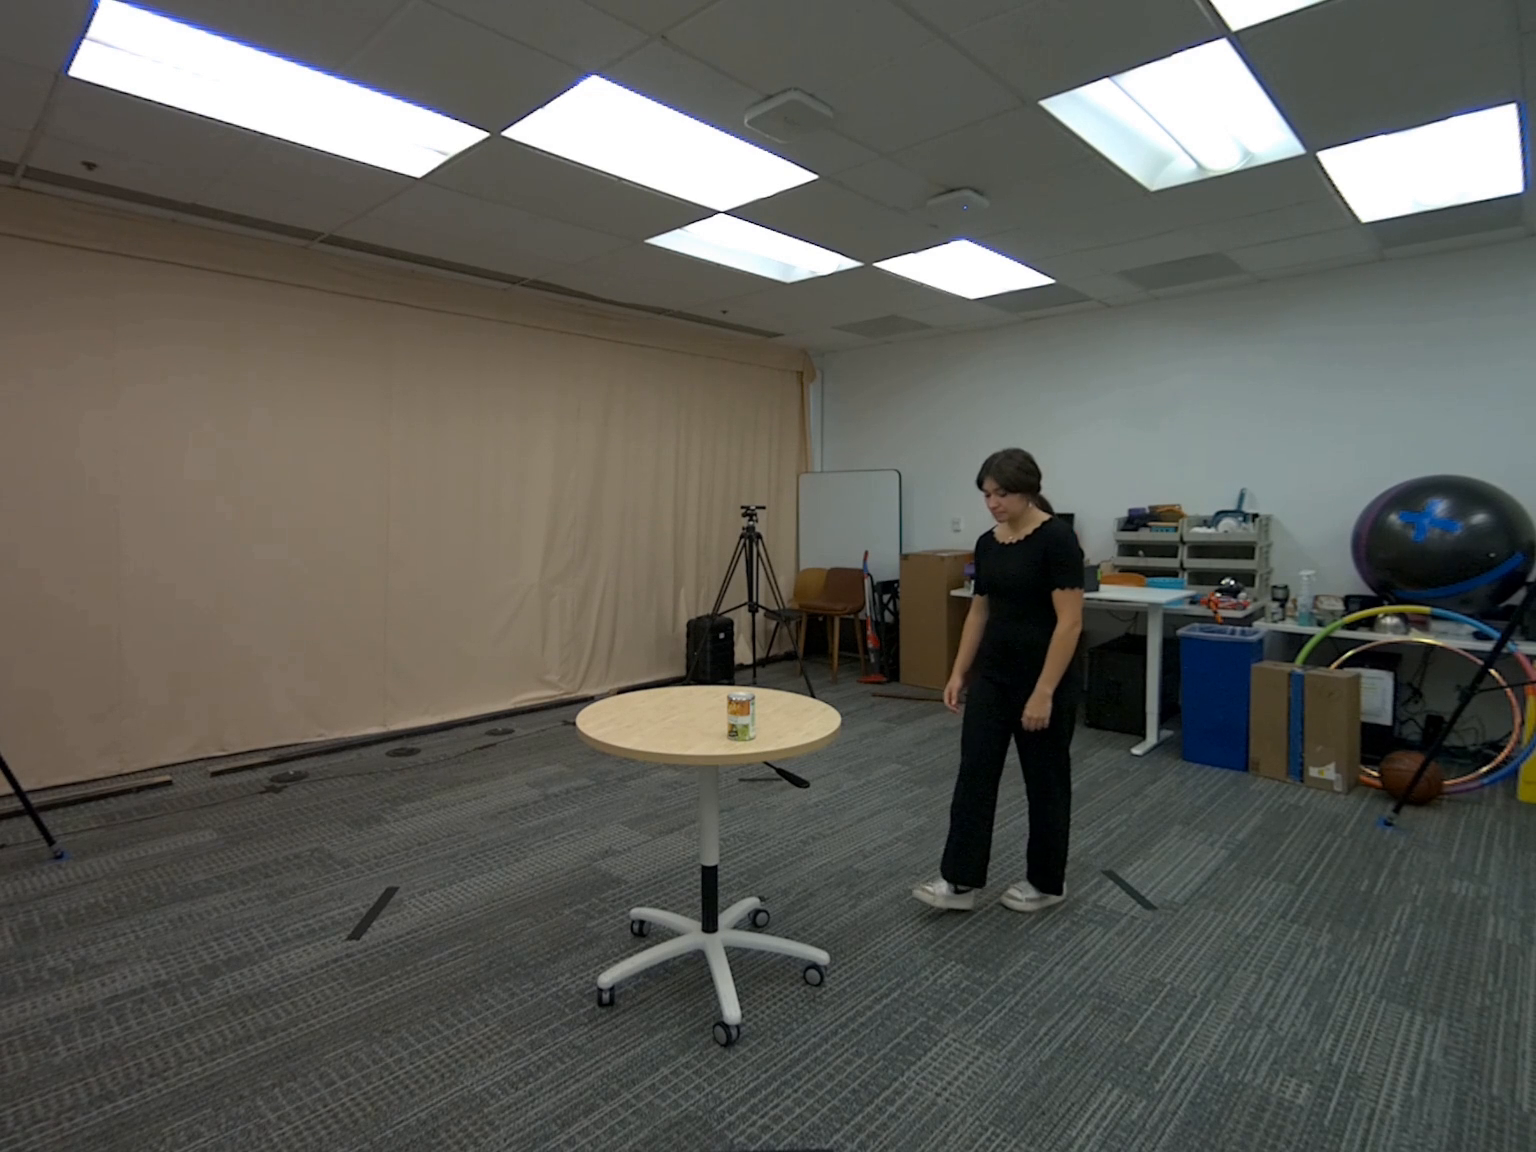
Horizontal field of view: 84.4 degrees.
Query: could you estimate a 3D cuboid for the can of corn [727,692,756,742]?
[{"bbox_3d":[-0.066,0.371,2.224,0.074,0.111,0.074,0,5,-2],"label":"can of corn"}]
